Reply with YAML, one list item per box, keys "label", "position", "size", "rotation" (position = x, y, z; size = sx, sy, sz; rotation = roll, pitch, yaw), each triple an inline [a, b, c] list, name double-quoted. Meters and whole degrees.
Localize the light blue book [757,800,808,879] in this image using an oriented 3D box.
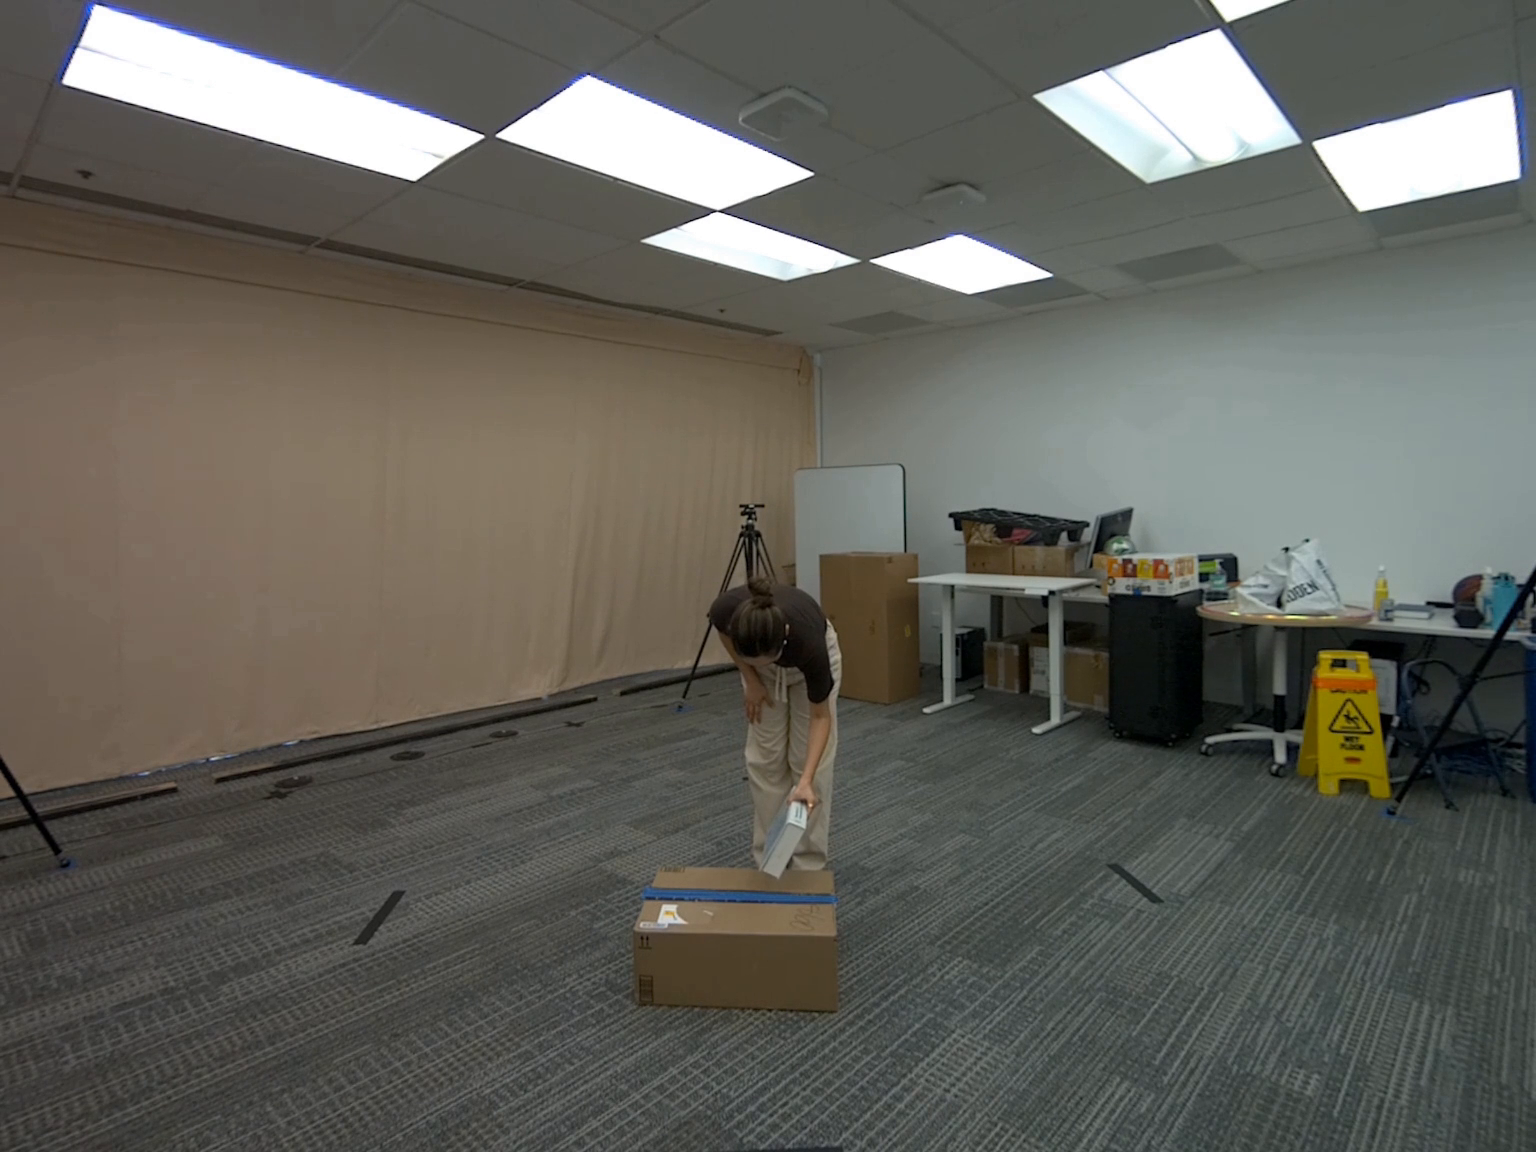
- label: "light blue book"
  position: [0.053, 0.791, 2.641]
  size: [0.059, 0.191, 0.260]
  rotation: [26, 12, 0]
